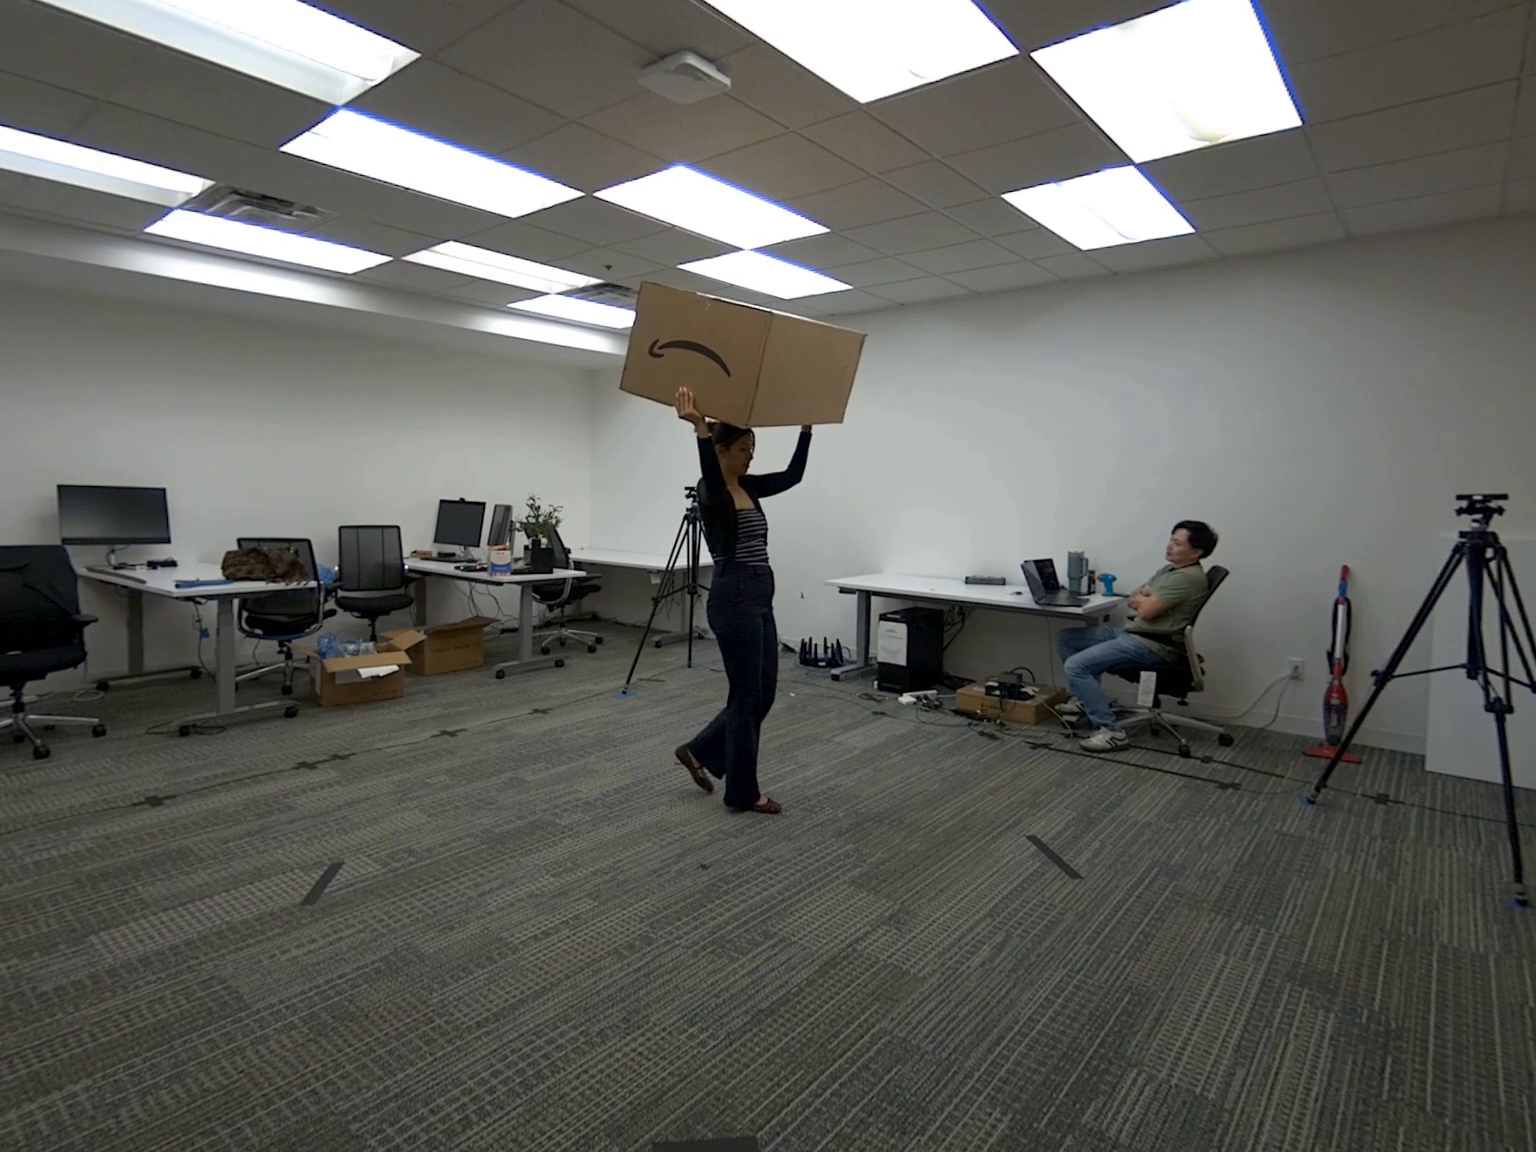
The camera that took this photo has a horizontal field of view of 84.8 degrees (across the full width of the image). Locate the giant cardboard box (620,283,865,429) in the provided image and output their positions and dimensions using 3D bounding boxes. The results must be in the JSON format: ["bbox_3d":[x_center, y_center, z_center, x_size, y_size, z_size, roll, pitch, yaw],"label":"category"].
[{"bbox_3d":[-0.081,-0.909,3.586,0.595,0.421,1.007,21,19,22],"label":"giant cardboard box"}]
